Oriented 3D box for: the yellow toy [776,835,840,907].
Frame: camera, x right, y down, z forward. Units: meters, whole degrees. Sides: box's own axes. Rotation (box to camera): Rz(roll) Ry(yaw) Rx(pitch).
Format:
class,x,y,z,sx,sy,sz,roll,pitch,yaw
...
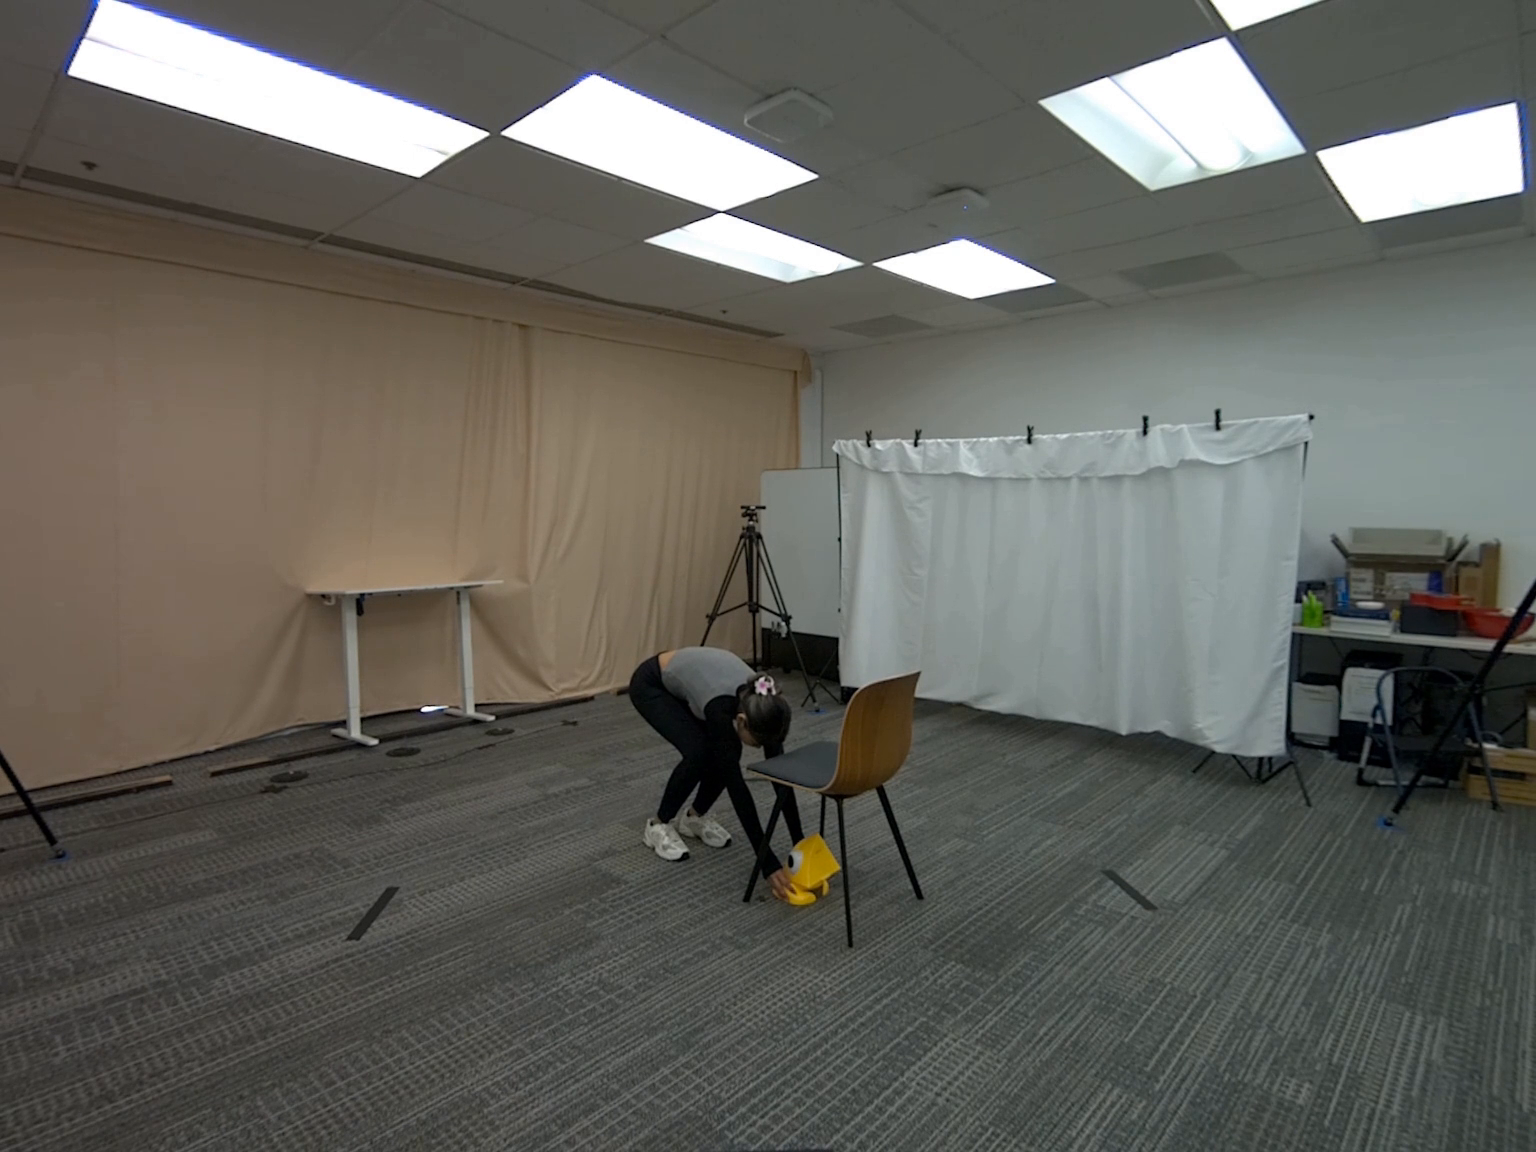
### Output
class,x,y,z,sx,sy,sz,roll,pitch,yaw
yellow toy,0.129,1.025,3.026,0.199,0.230,0.198,4,6,40
